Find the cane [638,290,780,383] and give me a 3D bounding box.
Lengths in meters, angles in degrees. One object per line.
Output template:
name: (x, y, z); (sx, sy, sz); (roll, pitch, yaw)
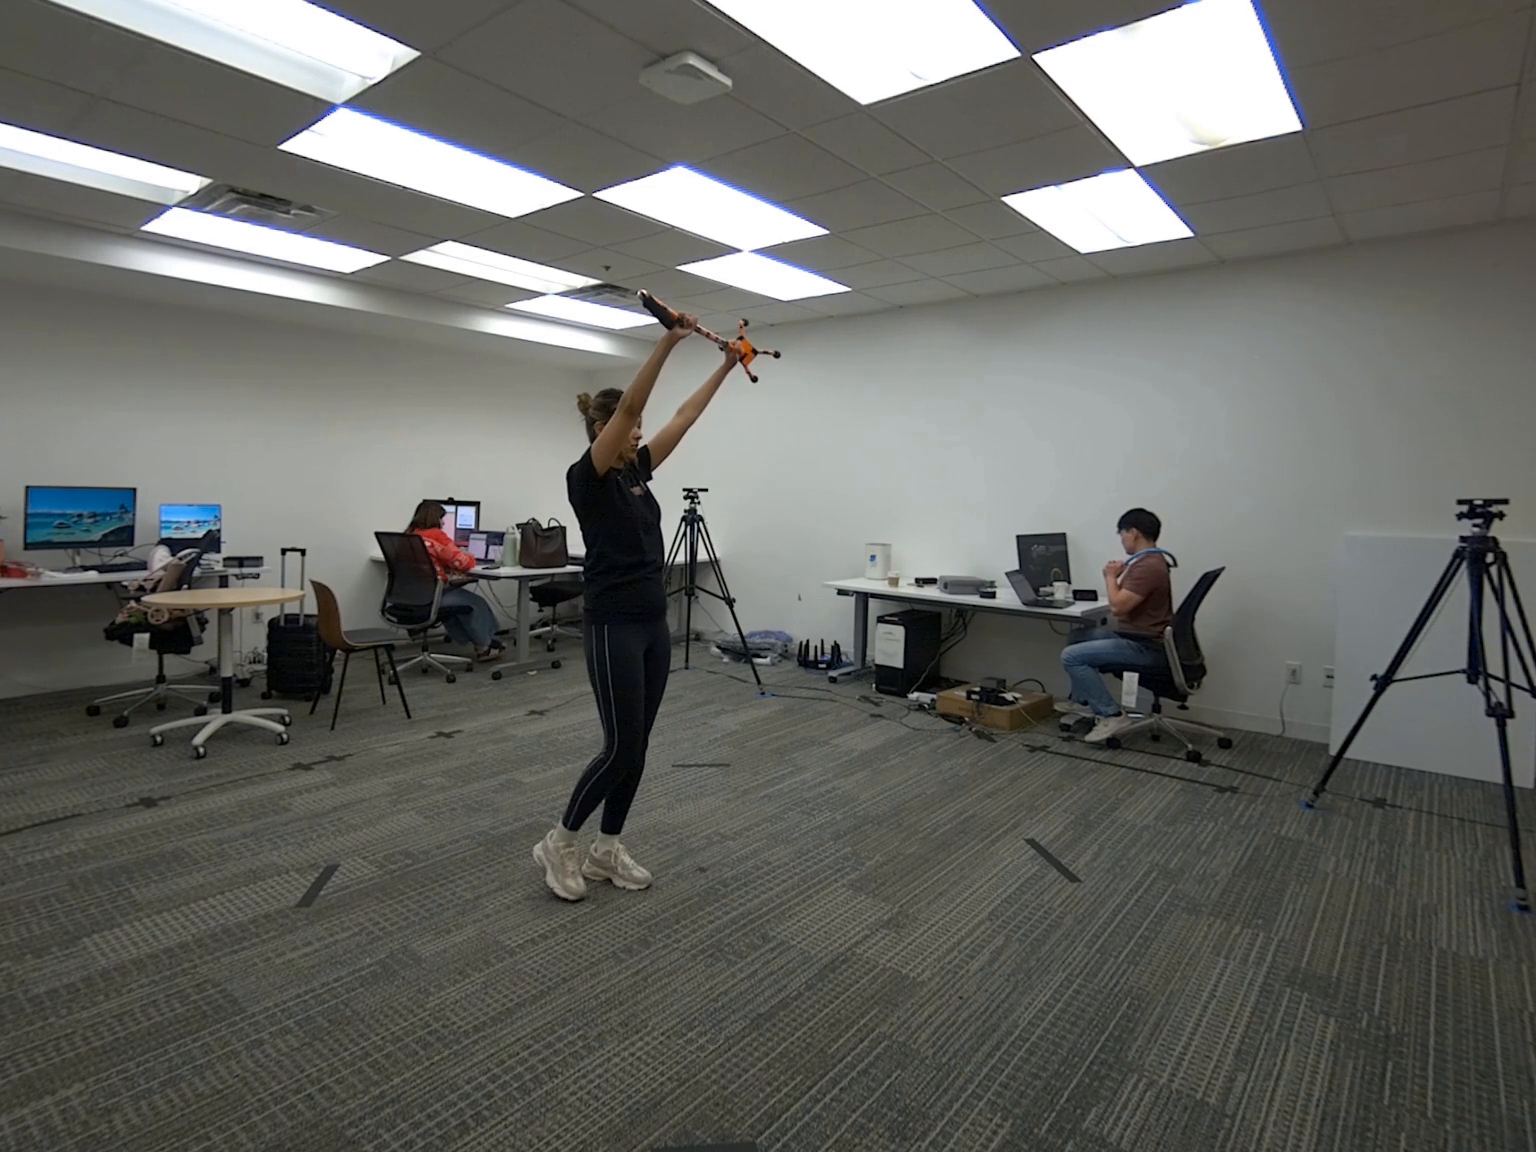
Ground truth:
cane: (-0.204, -0.800, 2.760); (0.152, 0.210, 0.893); (-45, -9, 16)
